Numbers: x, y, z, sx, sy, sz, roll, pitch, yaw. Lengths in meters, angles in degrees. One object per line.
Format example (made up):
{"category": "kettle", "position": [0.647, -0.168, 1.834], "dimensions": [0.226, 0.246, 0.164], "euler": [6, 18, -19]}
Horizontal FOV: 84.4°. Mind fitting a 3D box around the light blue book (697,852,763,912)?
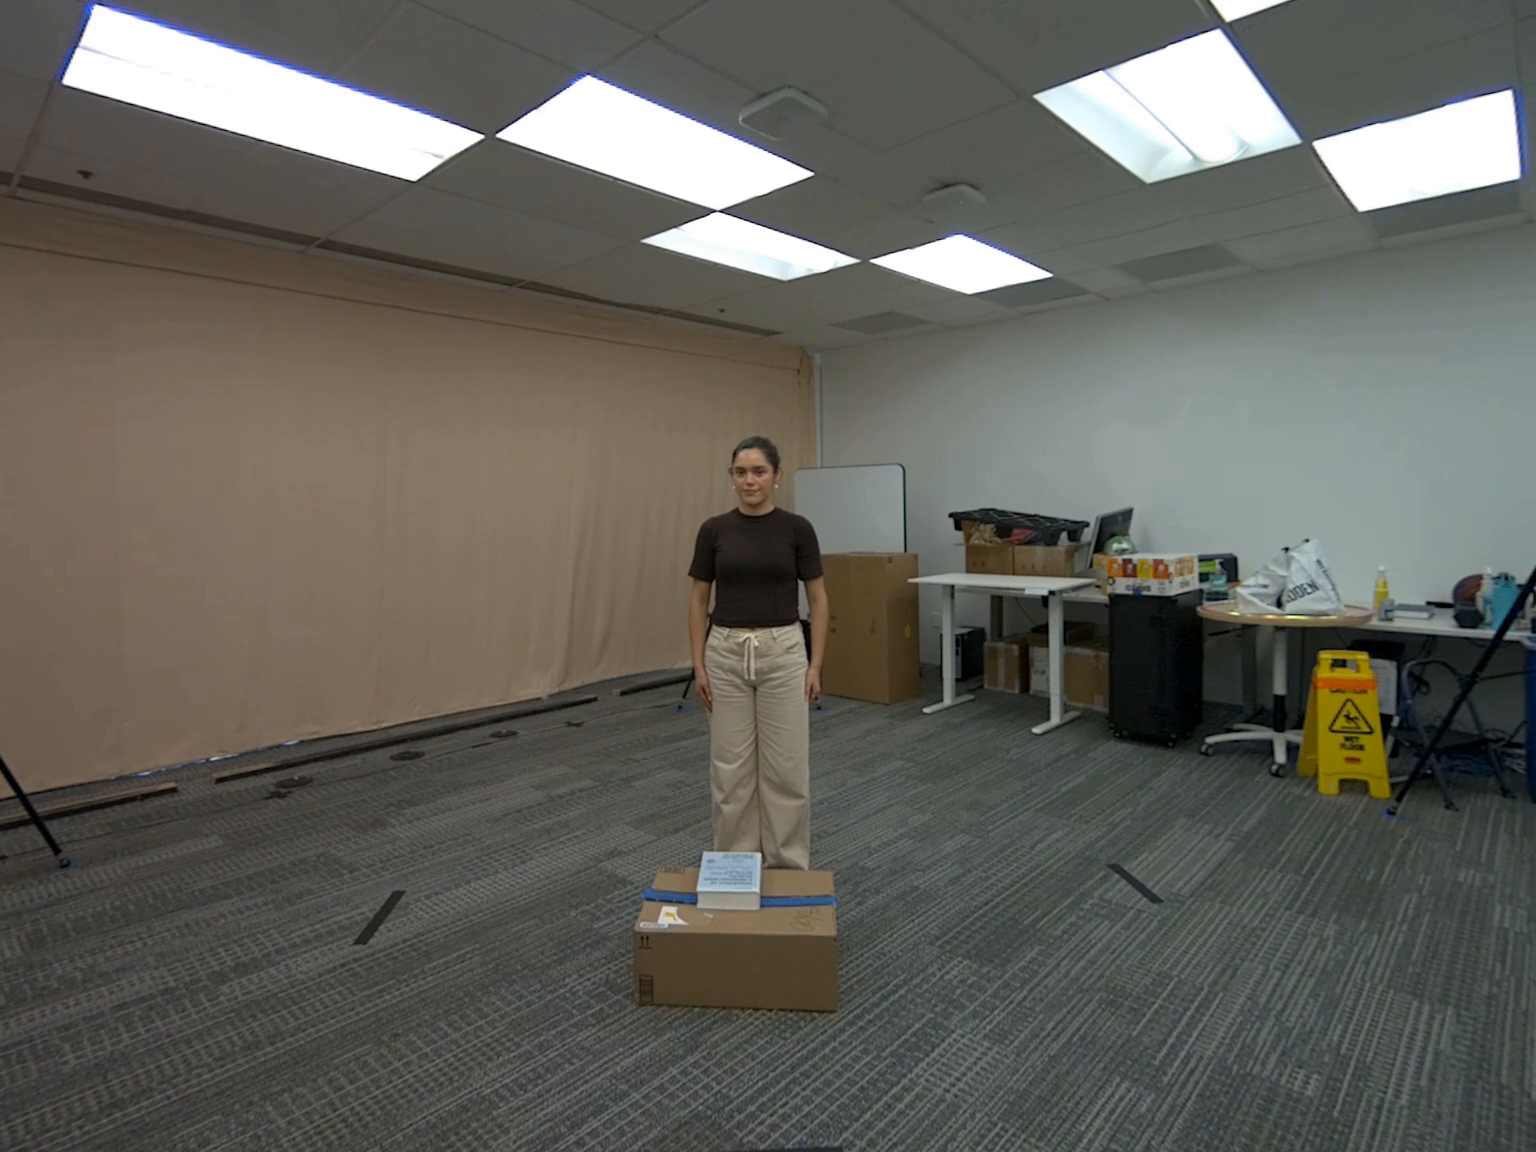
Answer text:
{"category": "light blue book", "position": [-0.111, 0.931, 2.595], "dimensions": [0.192, 0.059, 0.261], "euler": [0, 6, 2]}
